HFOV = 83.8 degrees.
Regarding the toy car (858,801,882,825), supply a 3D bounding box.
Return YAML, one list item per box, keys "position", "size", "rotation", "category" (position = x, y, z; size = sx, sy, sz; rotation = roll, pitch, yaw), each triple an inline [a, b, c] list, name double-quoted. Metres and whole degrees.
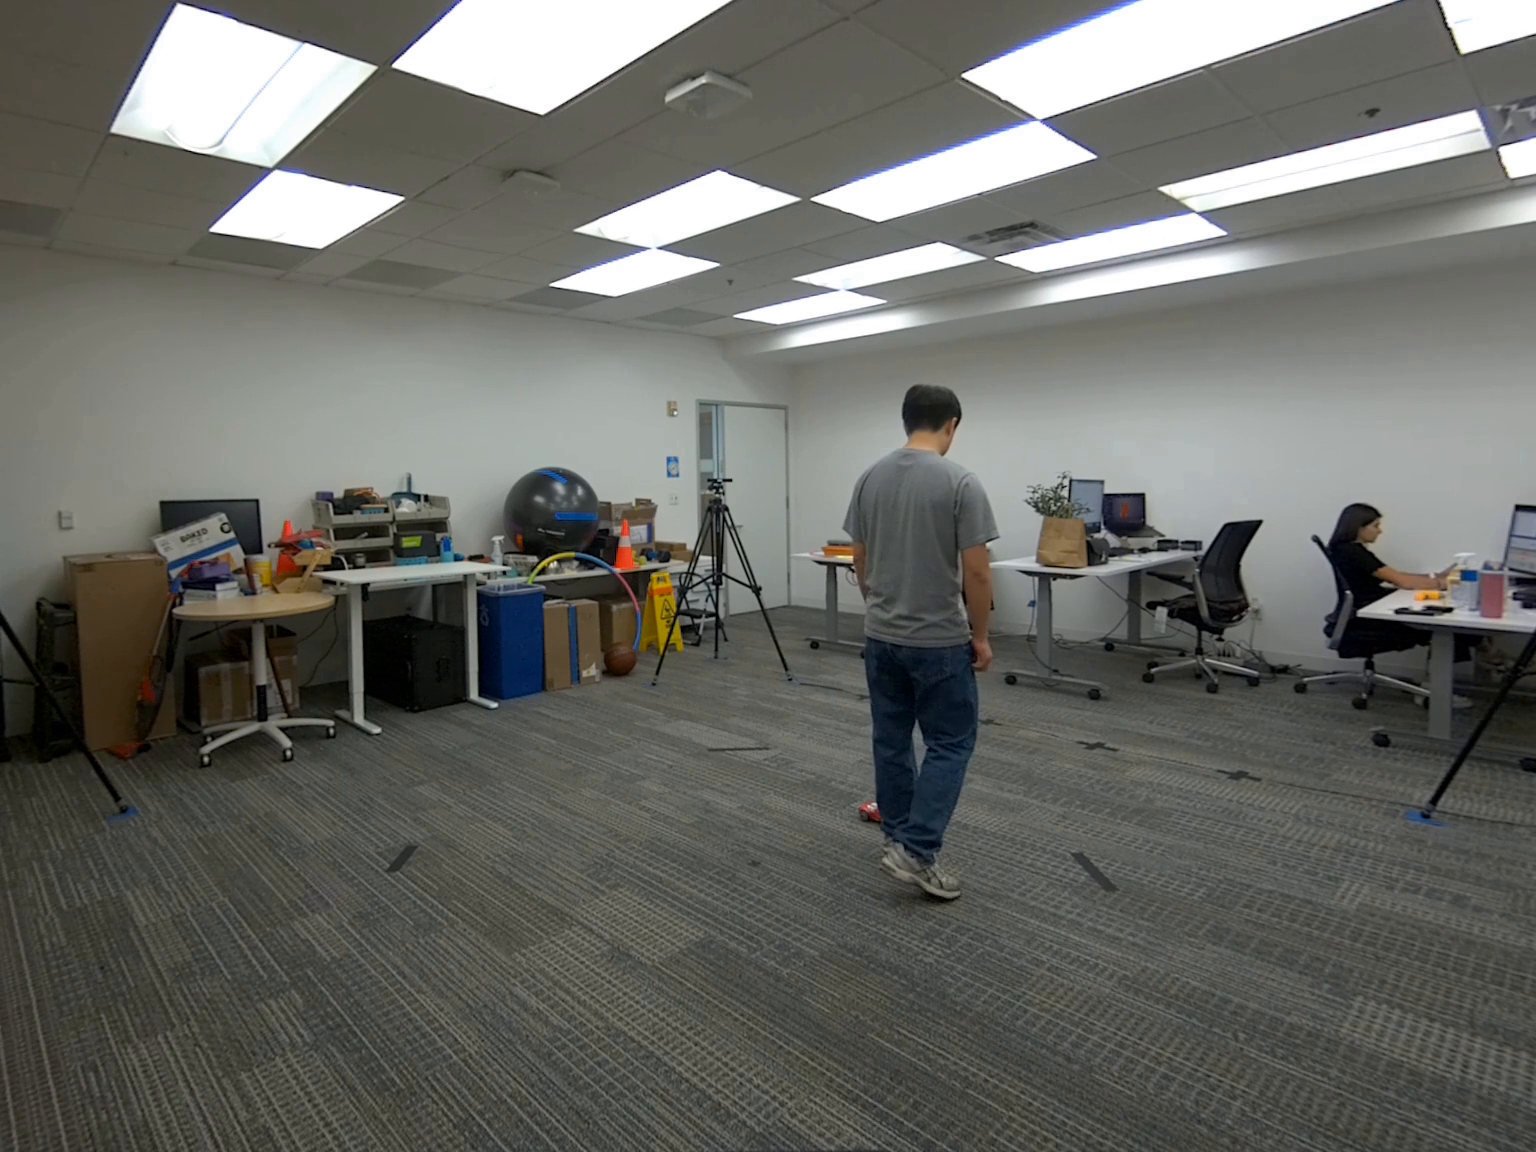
- position: [0.504, 0.967, 3.451]
  size: [0.260, 0.083, 0.127]
  rotation: [-10, -3, 40]
  category: "toy car"
